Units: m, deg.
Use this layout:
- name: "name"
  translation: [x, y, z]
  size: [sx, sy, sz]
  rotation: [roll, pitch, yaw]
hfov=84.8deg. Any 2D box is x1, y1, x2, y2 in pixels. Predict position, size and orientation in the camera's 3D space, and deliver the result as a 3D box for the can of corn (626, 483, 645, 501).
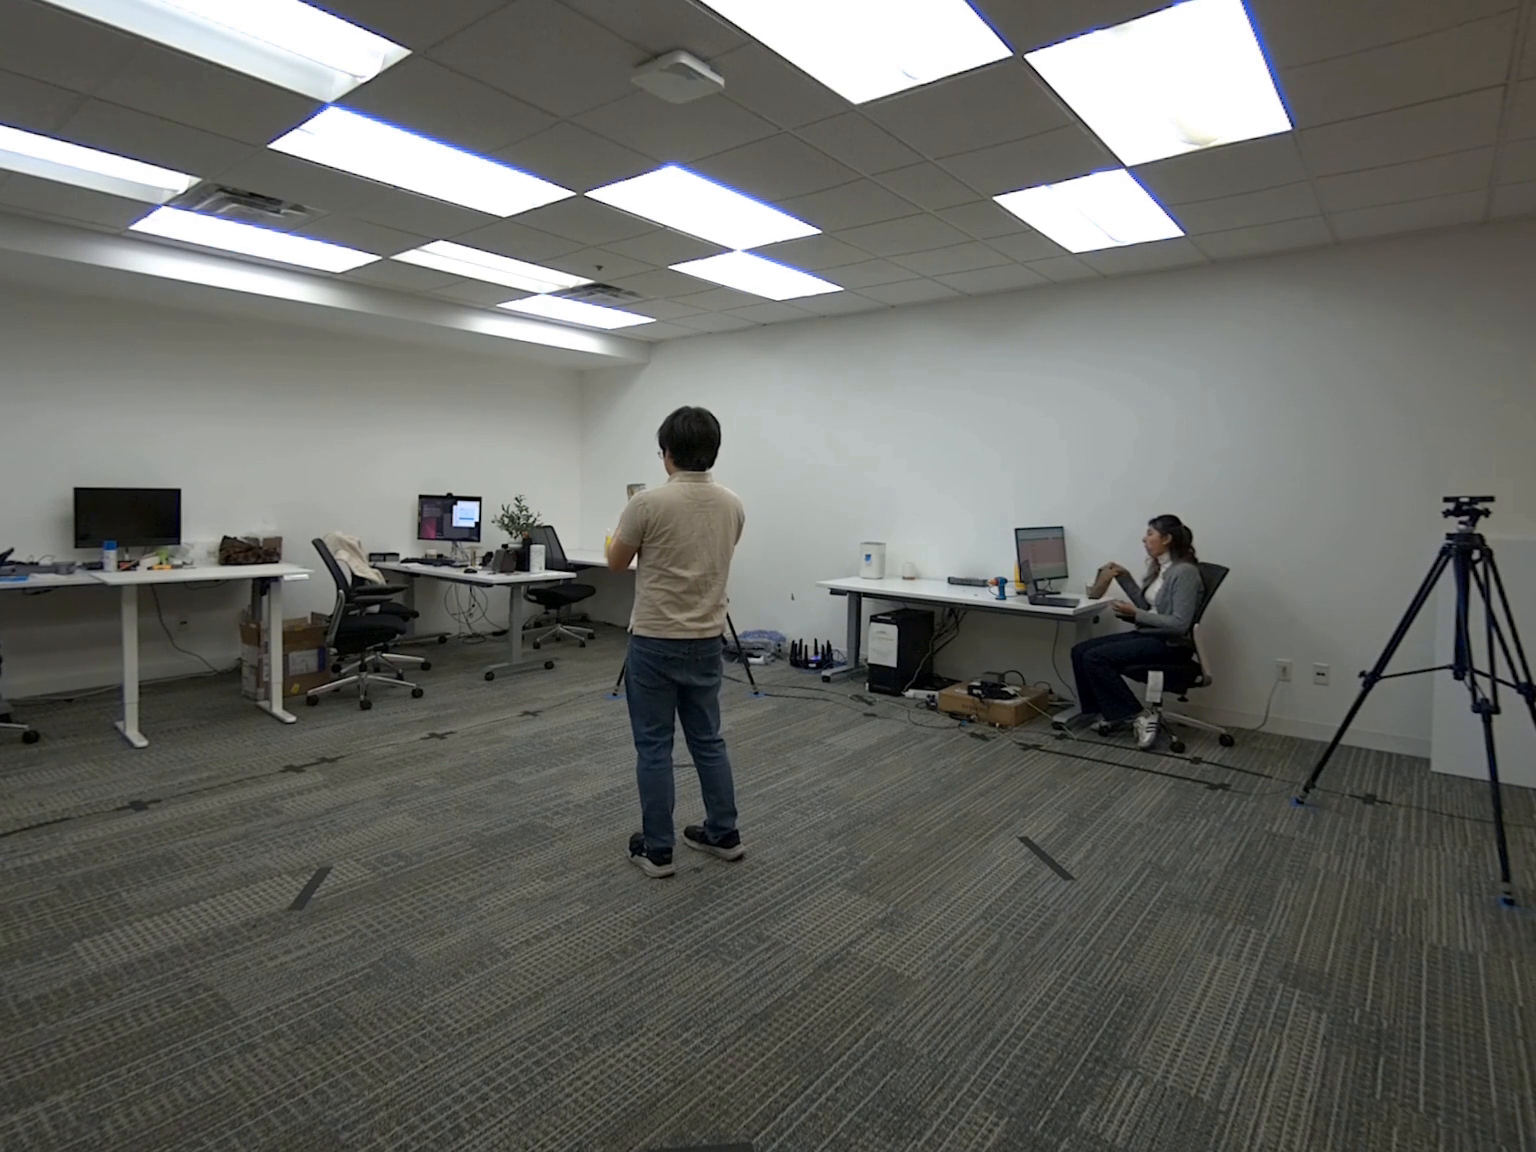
- name: "can of corn"
  translation: [-0.536, -0.311, 3.373]
  size: [0.074, 0.111, 0.074]
  rotation: [-4, 1, -2]
